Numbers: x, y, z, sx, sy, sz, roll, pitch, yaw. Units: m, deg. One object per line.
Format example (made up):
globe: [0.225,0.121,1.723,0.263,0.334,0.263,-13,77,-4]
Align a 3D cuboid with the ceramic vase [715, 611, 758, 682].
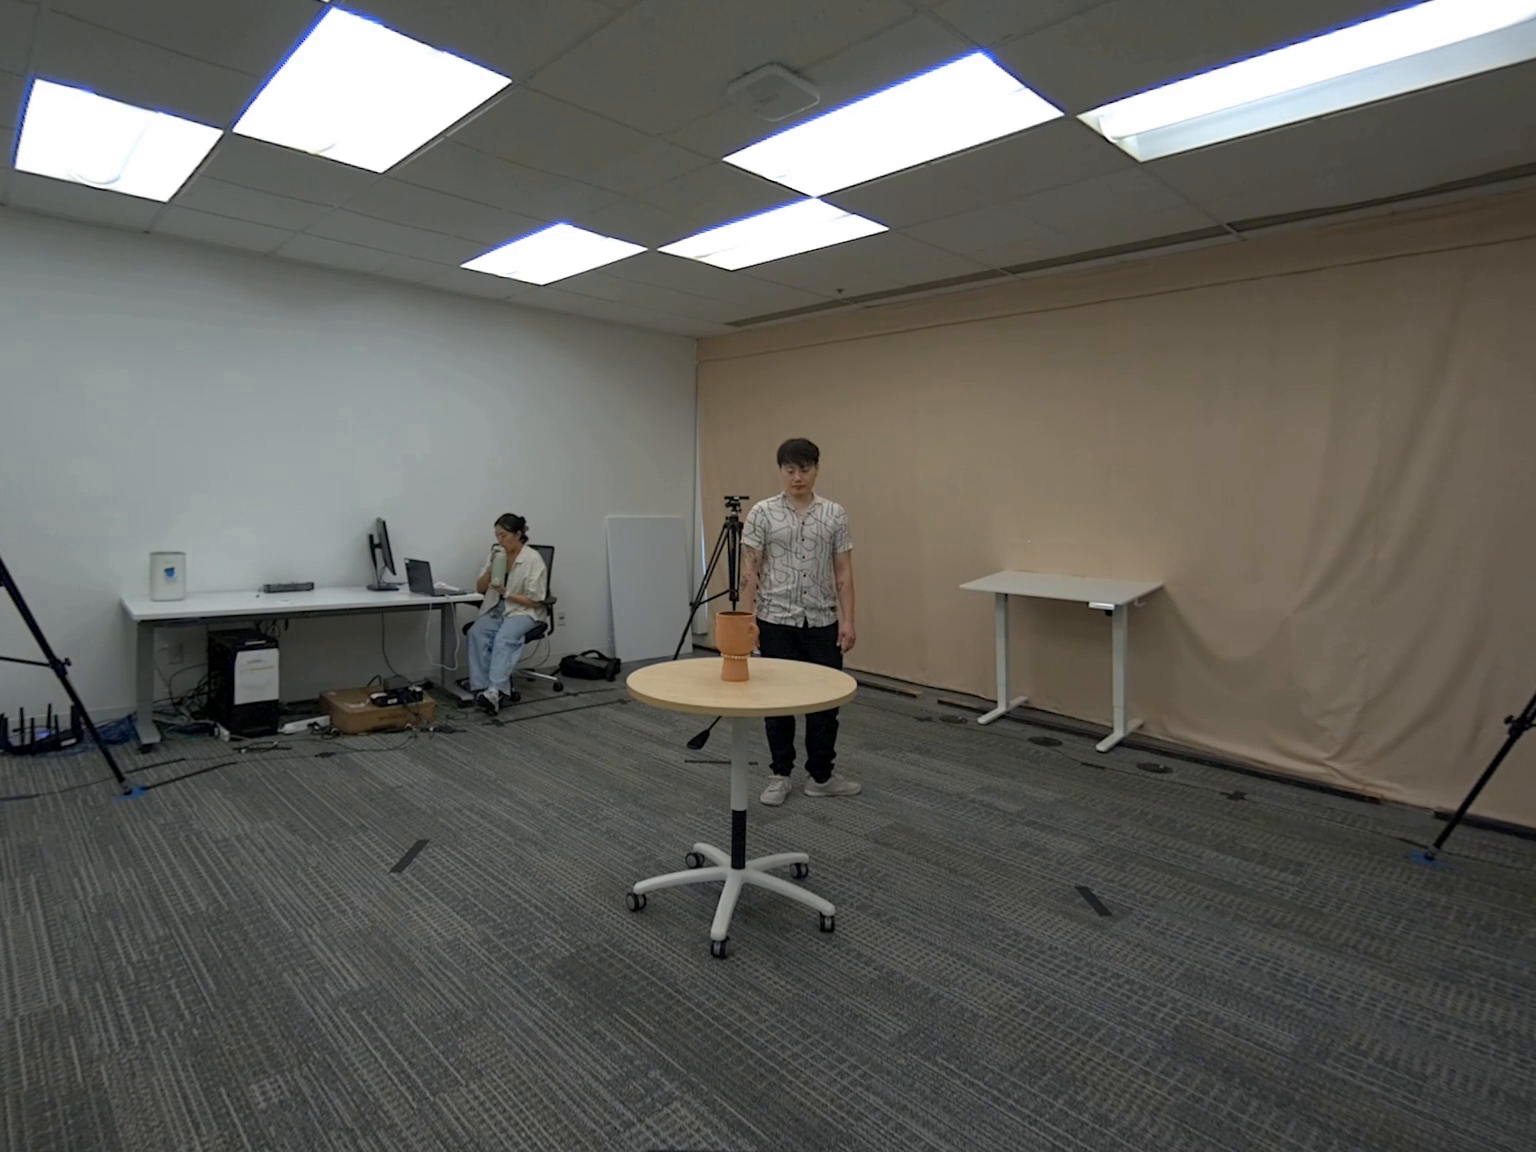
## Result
ceramic vase: [-0.117,0.238,2.817,0.134,0.219,0.160,1,4,-8]
